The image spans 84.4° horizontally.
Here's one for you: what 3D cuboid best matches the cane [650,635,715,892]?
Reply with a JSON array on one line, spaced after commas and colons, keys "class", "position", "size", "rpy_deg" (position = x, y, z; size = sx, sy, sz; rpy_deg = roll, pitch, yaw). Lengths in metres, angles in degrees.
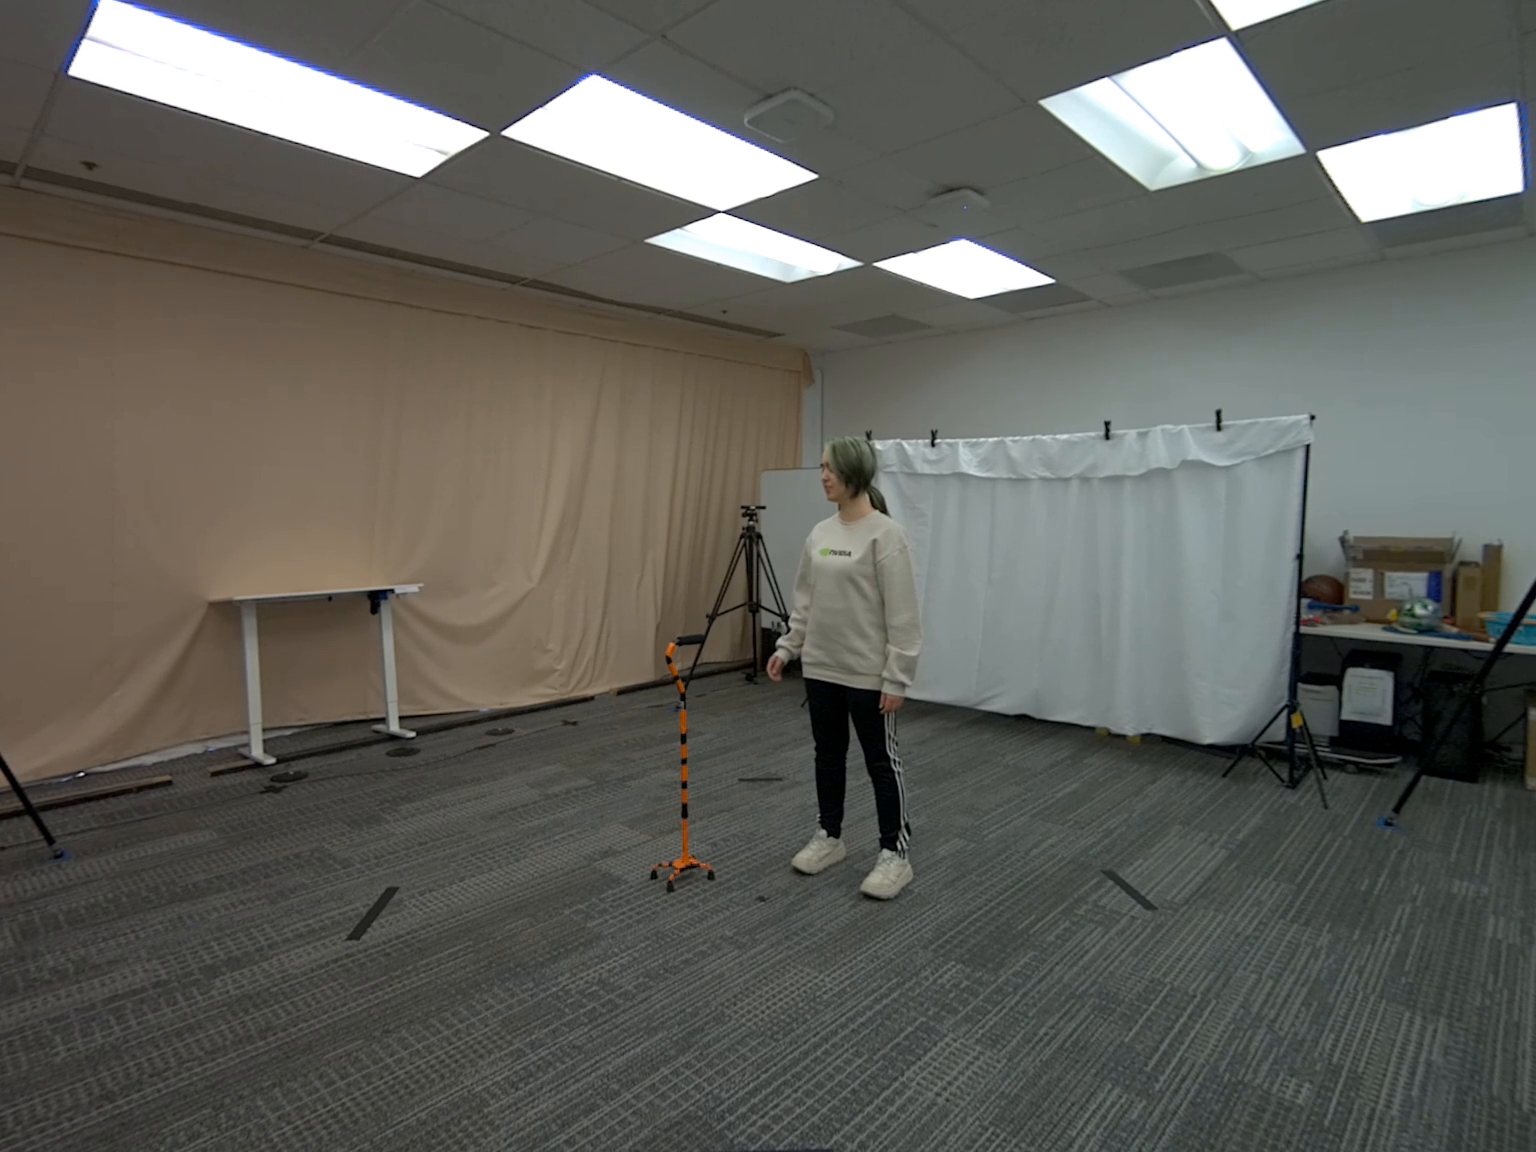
[{"class": "cane", "position": [-0.322, 0.679, 3.130], "size": [0.200, 0.906, 0.156], "rpy_deg": [-2, 3, -35]}]
